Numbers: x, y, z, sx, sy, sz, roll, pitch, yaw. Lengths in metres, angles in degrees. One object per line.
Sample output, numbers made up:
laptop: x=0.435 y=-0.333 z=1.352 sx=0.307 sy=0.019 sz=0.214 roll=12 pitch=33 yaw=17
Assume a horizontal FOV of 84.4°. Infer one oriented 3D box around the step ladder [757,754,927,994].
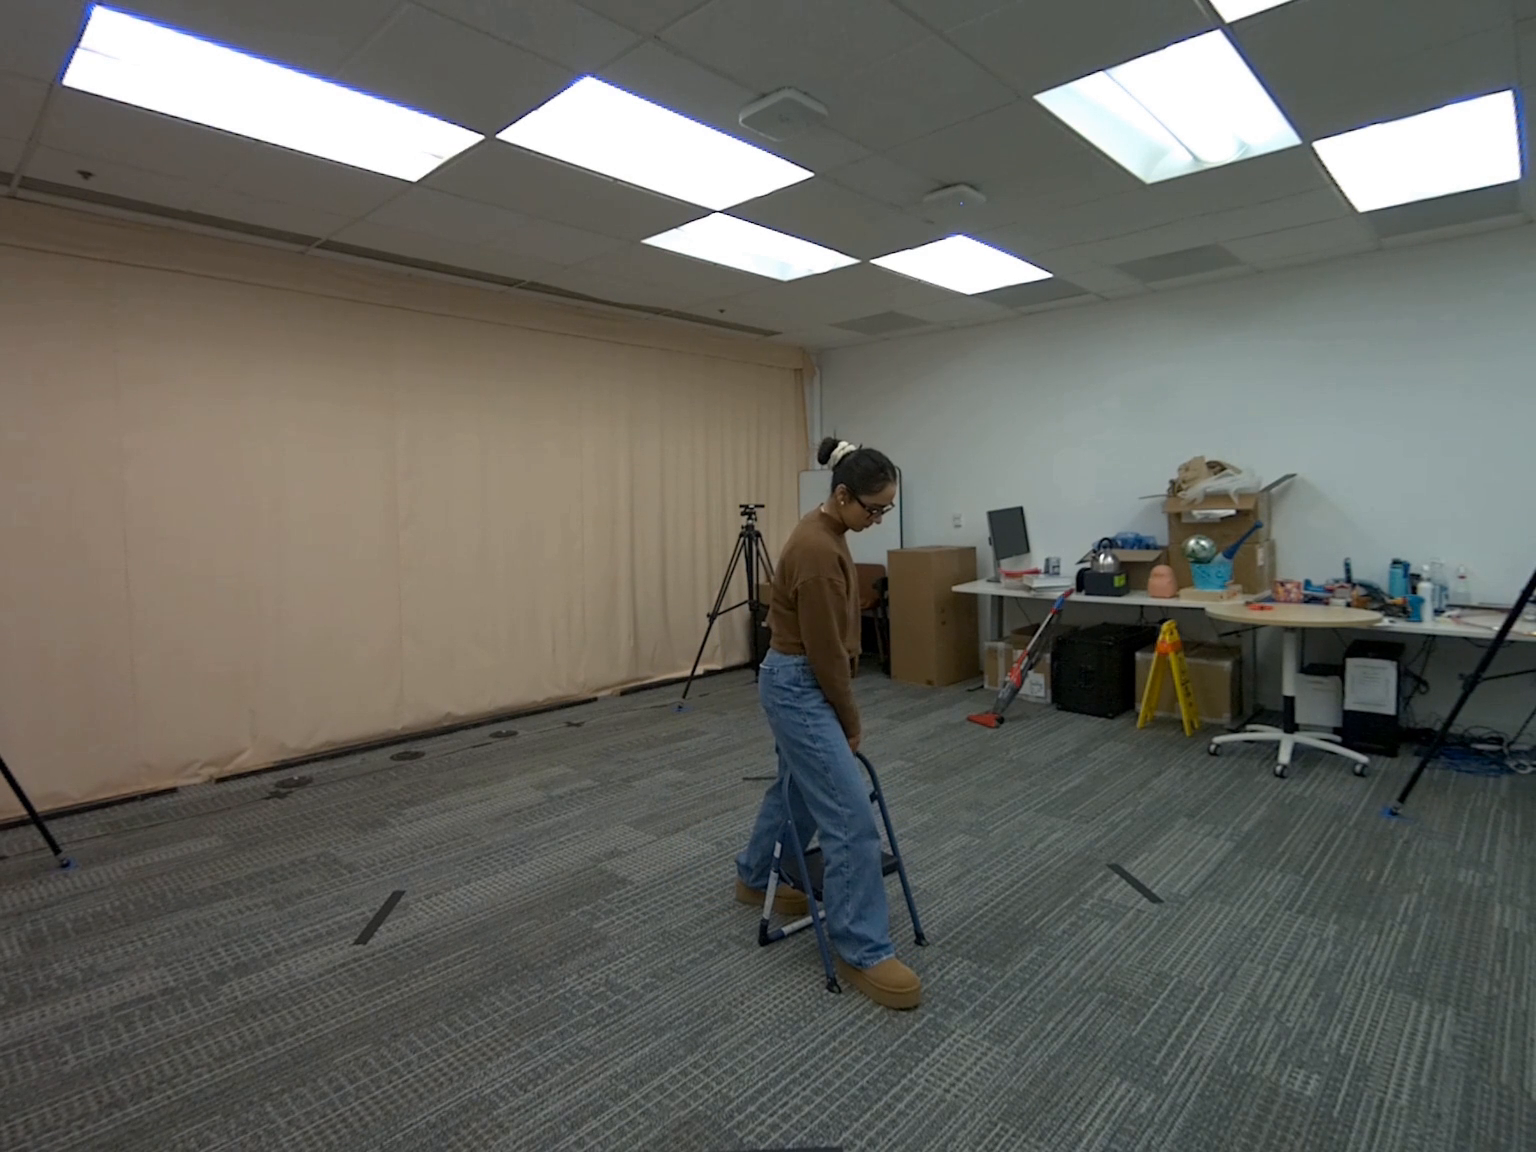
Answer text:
step ladder: x=0.233 y=0.858 z=2.645 sx=0.418 sy=0.605 sz=0.360 roll=-4 pitch=3 yaw=-40
